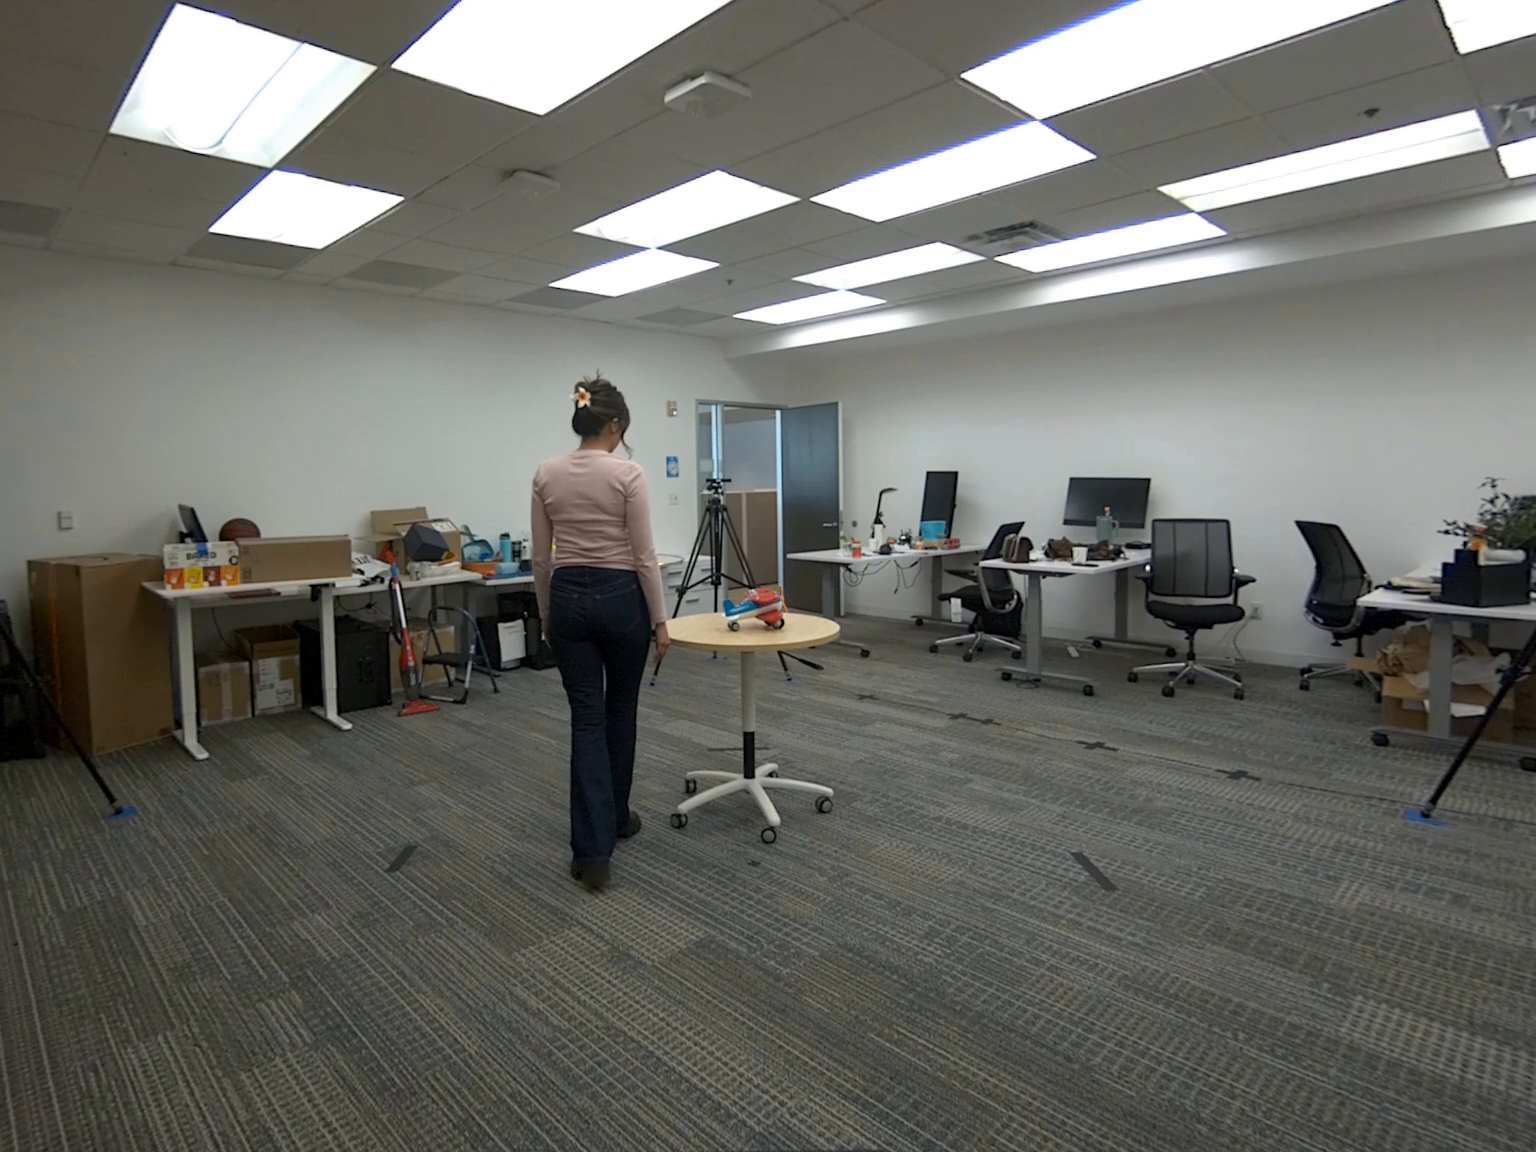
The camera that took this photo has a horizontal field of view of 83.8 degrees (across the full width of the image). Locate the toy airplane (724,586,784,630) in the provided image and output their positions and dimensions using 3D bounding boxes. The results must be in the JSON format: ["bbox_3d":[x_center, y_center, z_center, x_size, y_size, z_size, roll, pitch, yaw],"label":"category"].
[{"bbox_3d":[-0.050,0.143,3.483,0.259,0.156,0.252,5,8,44],"label":"toy airplane"}]
